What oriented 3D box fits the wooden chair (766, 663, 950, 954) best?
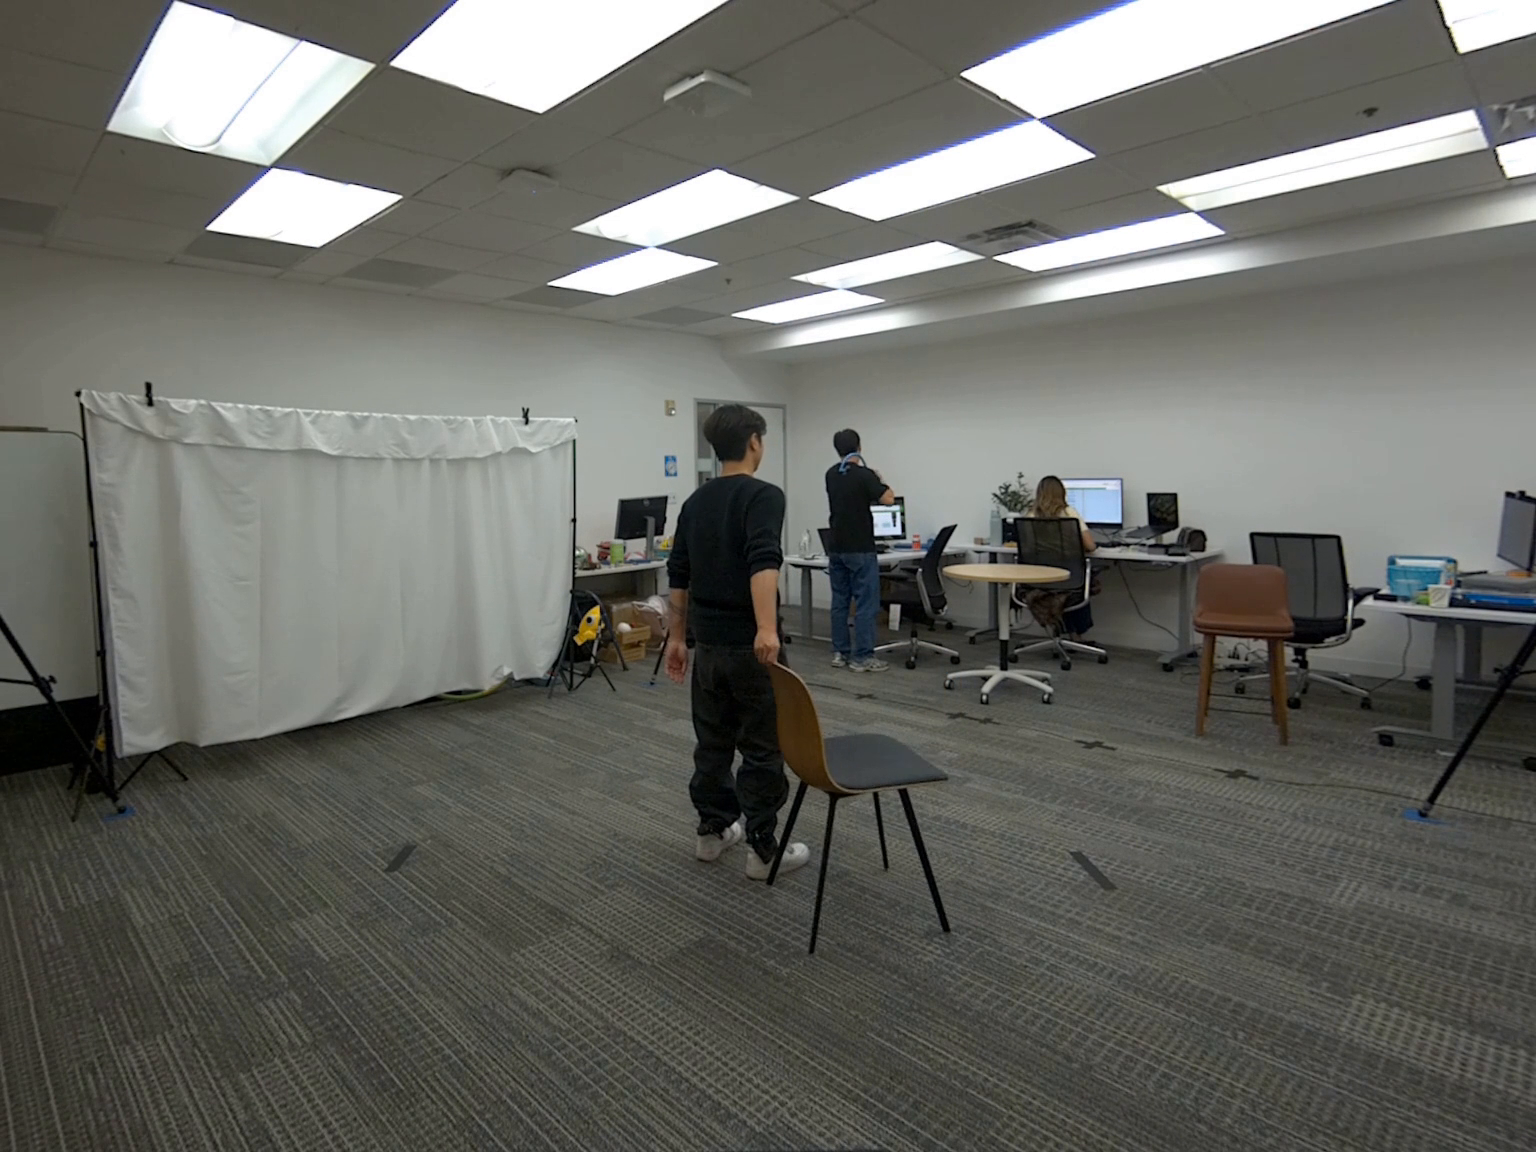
[{"bbox_3d":[0.280,0.647,2.744,0.517,0.874,0.486,-6,5,-14],"label":"wooden chair"}]
